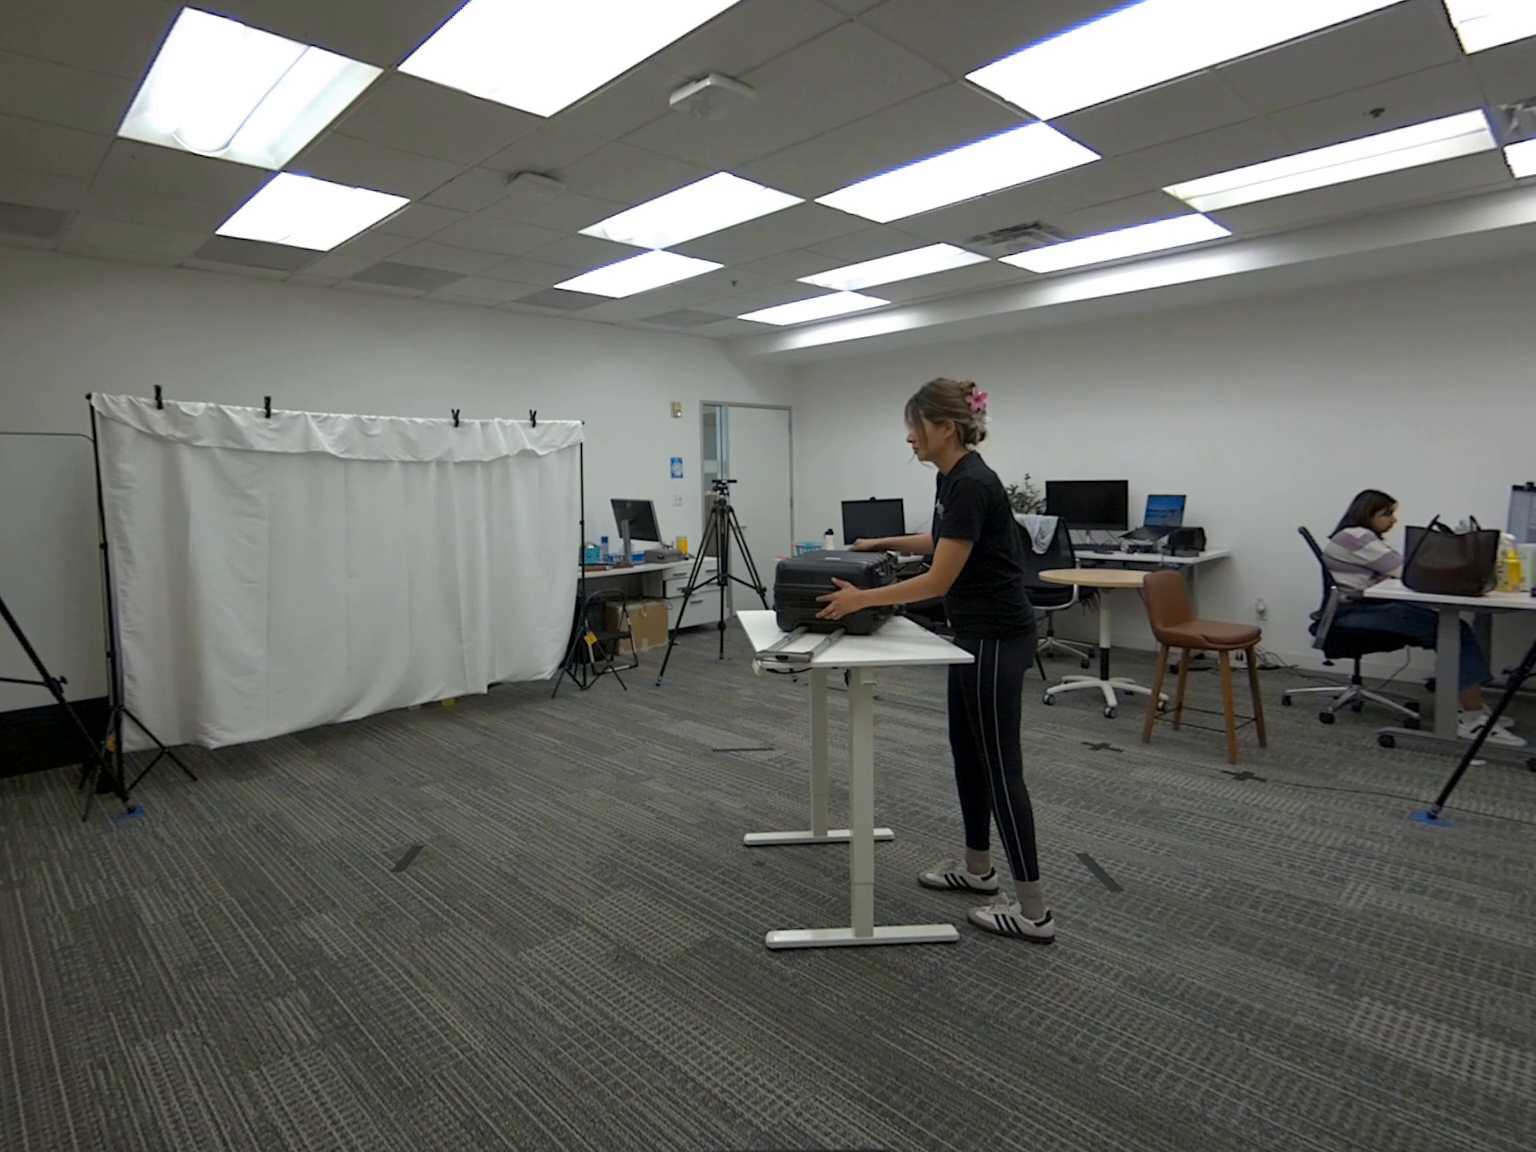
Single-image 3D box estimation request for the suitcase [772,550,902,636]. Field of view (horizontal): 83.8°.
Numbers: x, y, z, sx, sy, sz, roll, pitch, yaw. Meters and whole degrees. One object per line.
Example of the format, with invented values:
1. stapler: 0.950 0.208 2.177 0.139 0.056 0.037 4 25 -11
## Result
1. suitcase: 0.181 0.067 2.837 0.391 0.256 0.964 2 5 18
